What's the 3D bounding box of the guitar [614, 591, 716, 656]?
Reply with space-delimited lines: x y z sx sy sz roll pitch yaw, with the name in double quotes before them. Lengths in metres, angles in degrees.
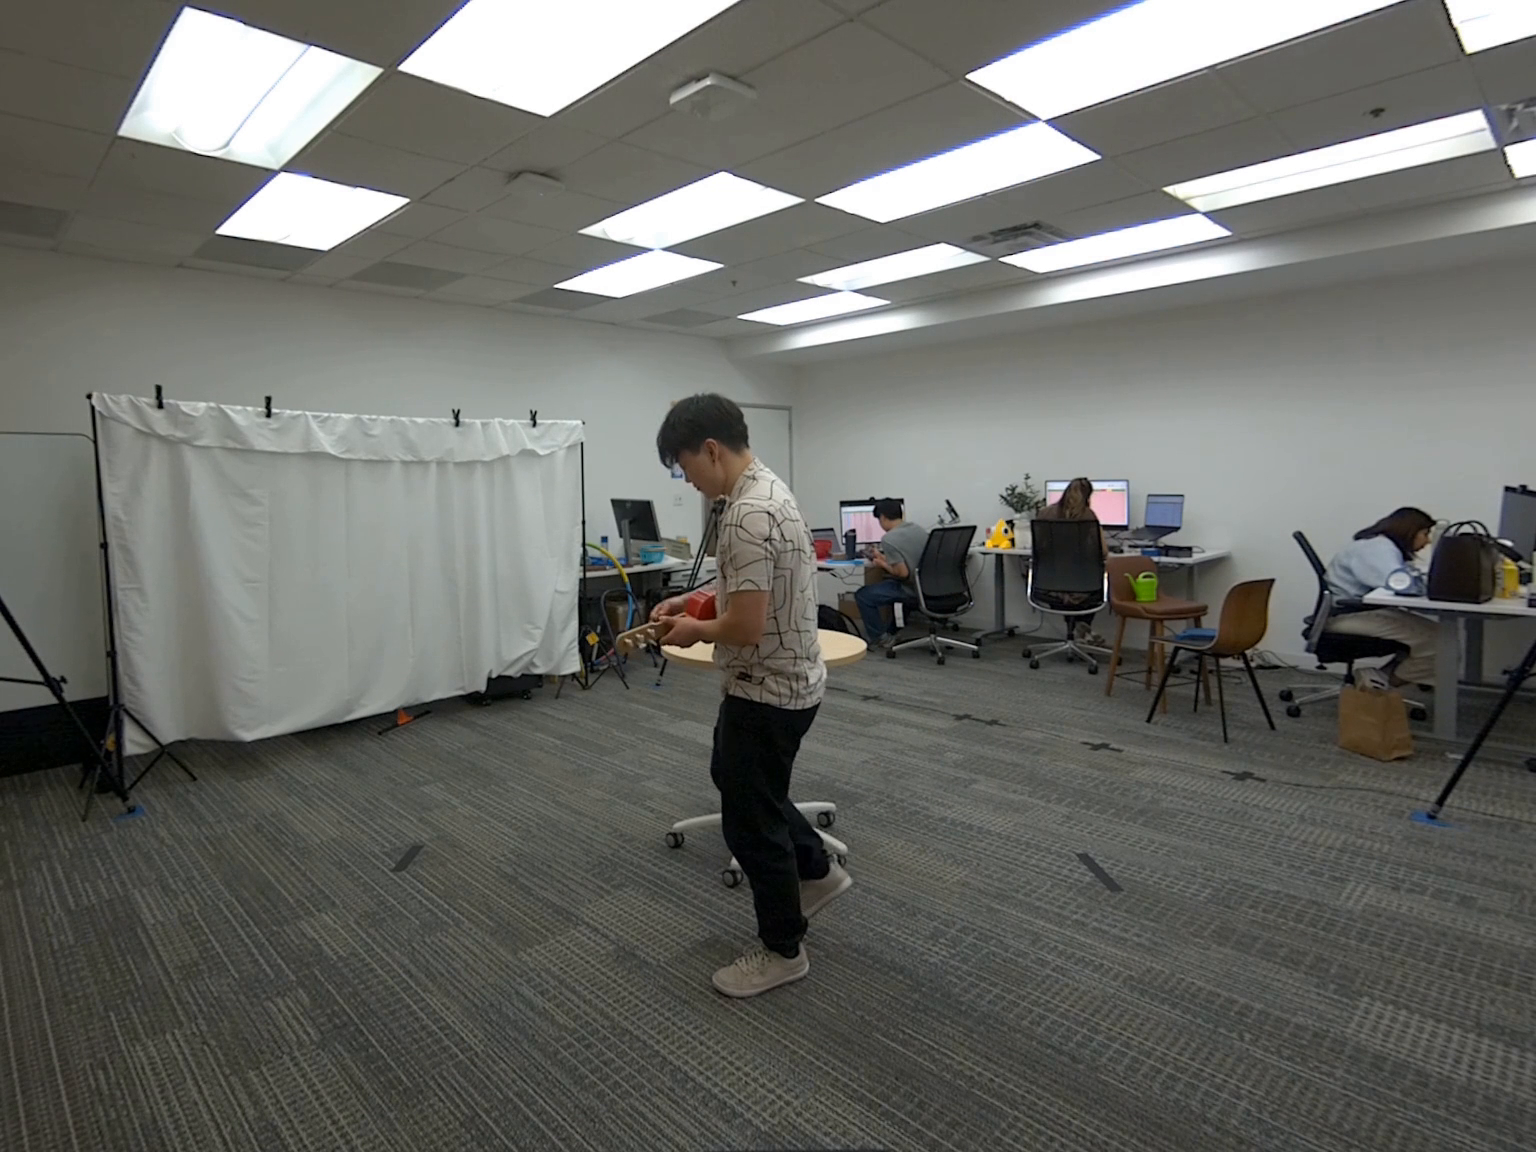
"guitar" -0.198 0.145 2.413 0.492 0.188 0.073 -30 34 -33
